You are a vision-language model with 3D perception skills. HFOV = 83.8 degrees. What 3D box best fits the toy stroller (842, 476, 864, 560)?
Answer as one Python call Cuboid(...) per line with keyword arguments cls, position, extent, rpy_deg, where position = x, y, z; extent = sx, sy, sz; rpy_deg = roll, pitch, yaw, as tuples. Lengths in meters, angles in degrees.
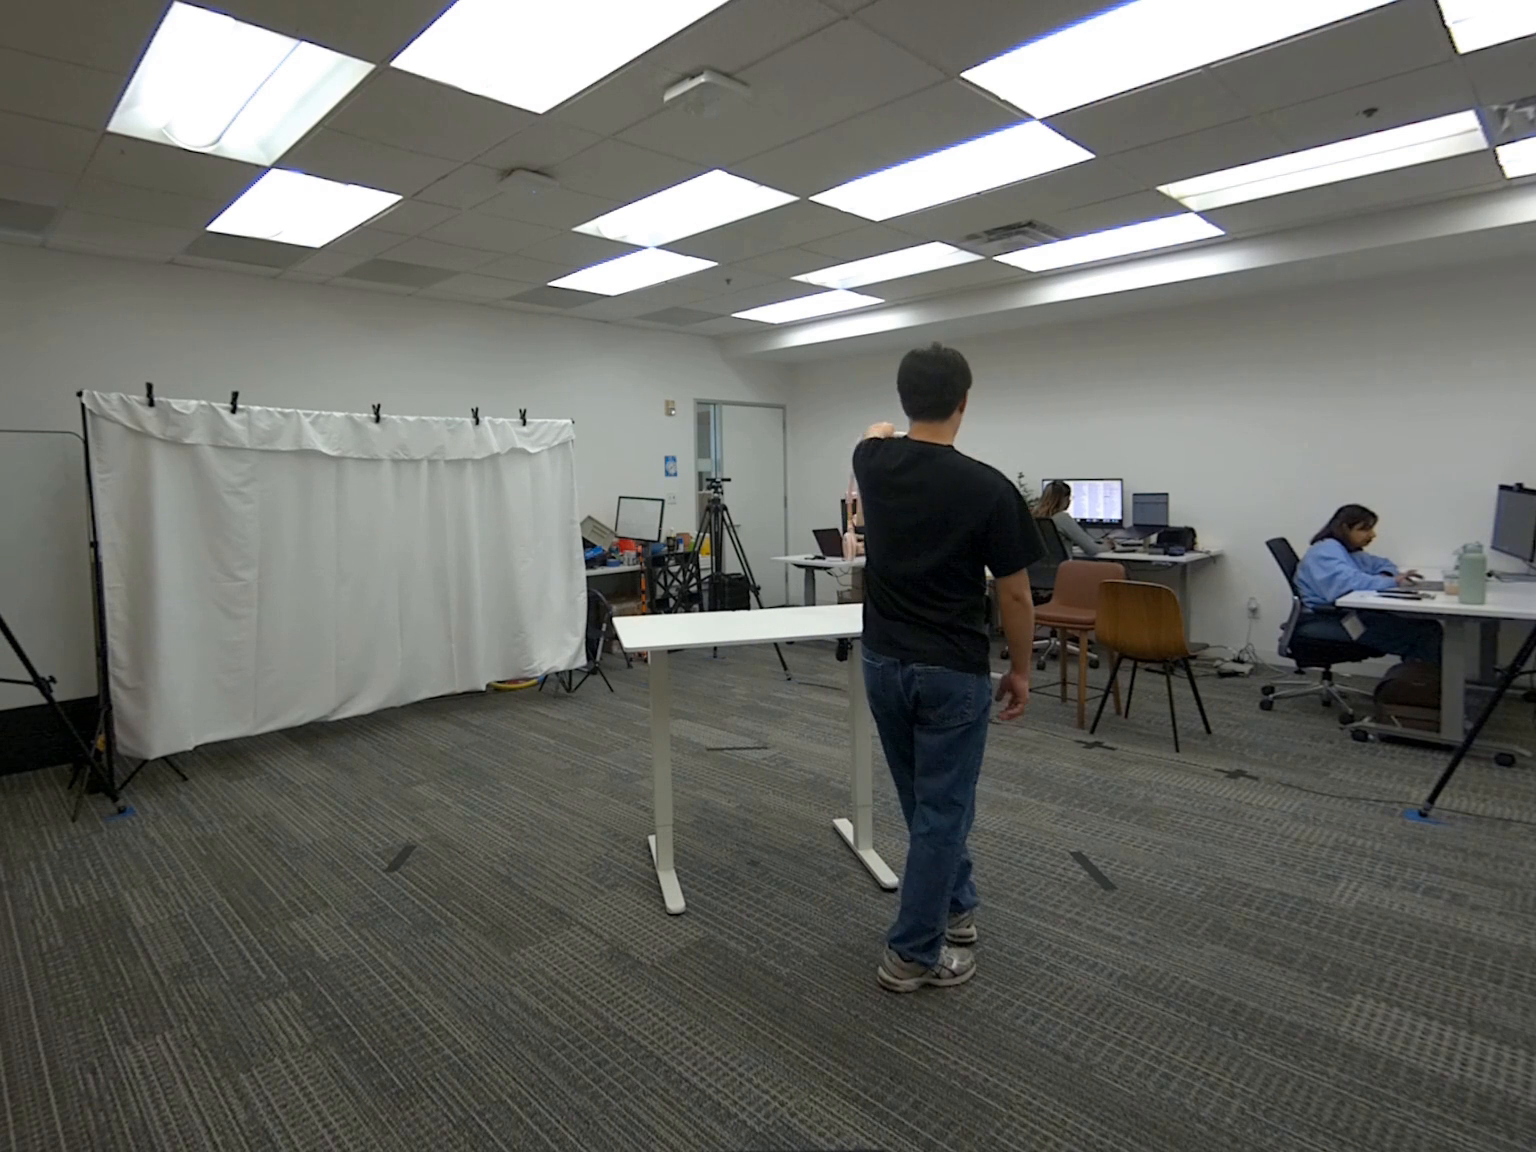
Cuboid(cls="toy stroller", position=(0.425, -0.292, 3.232), extent=(0.282, 0.528, 0.345), rpy_deg=(-3, 13, 1))
